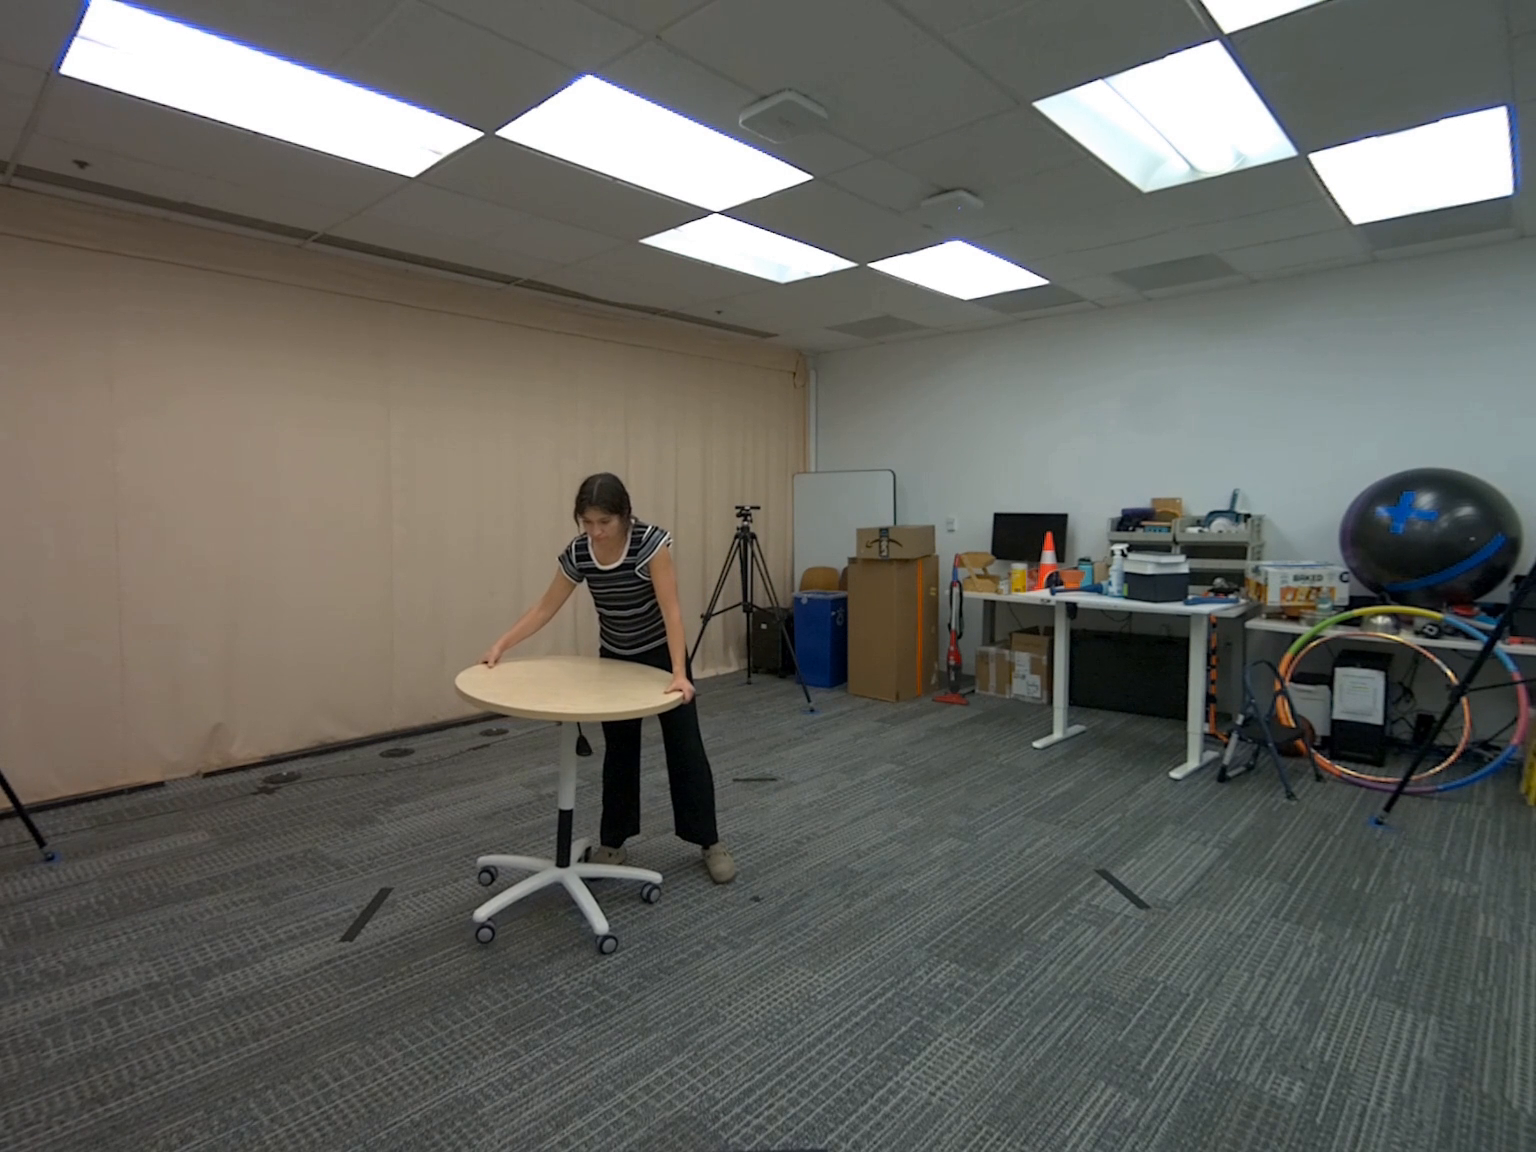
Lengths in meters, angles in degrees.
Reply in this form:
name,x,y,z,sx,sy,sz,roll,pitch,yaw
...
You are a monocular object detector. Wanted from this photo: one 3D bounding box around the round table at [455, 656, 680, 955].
name,x,y,z,sx,sy,sz,roll,pitch,yaw
round table,-0.690,0.751,2.863,0.763,0.792,0.767,4,5,-2
